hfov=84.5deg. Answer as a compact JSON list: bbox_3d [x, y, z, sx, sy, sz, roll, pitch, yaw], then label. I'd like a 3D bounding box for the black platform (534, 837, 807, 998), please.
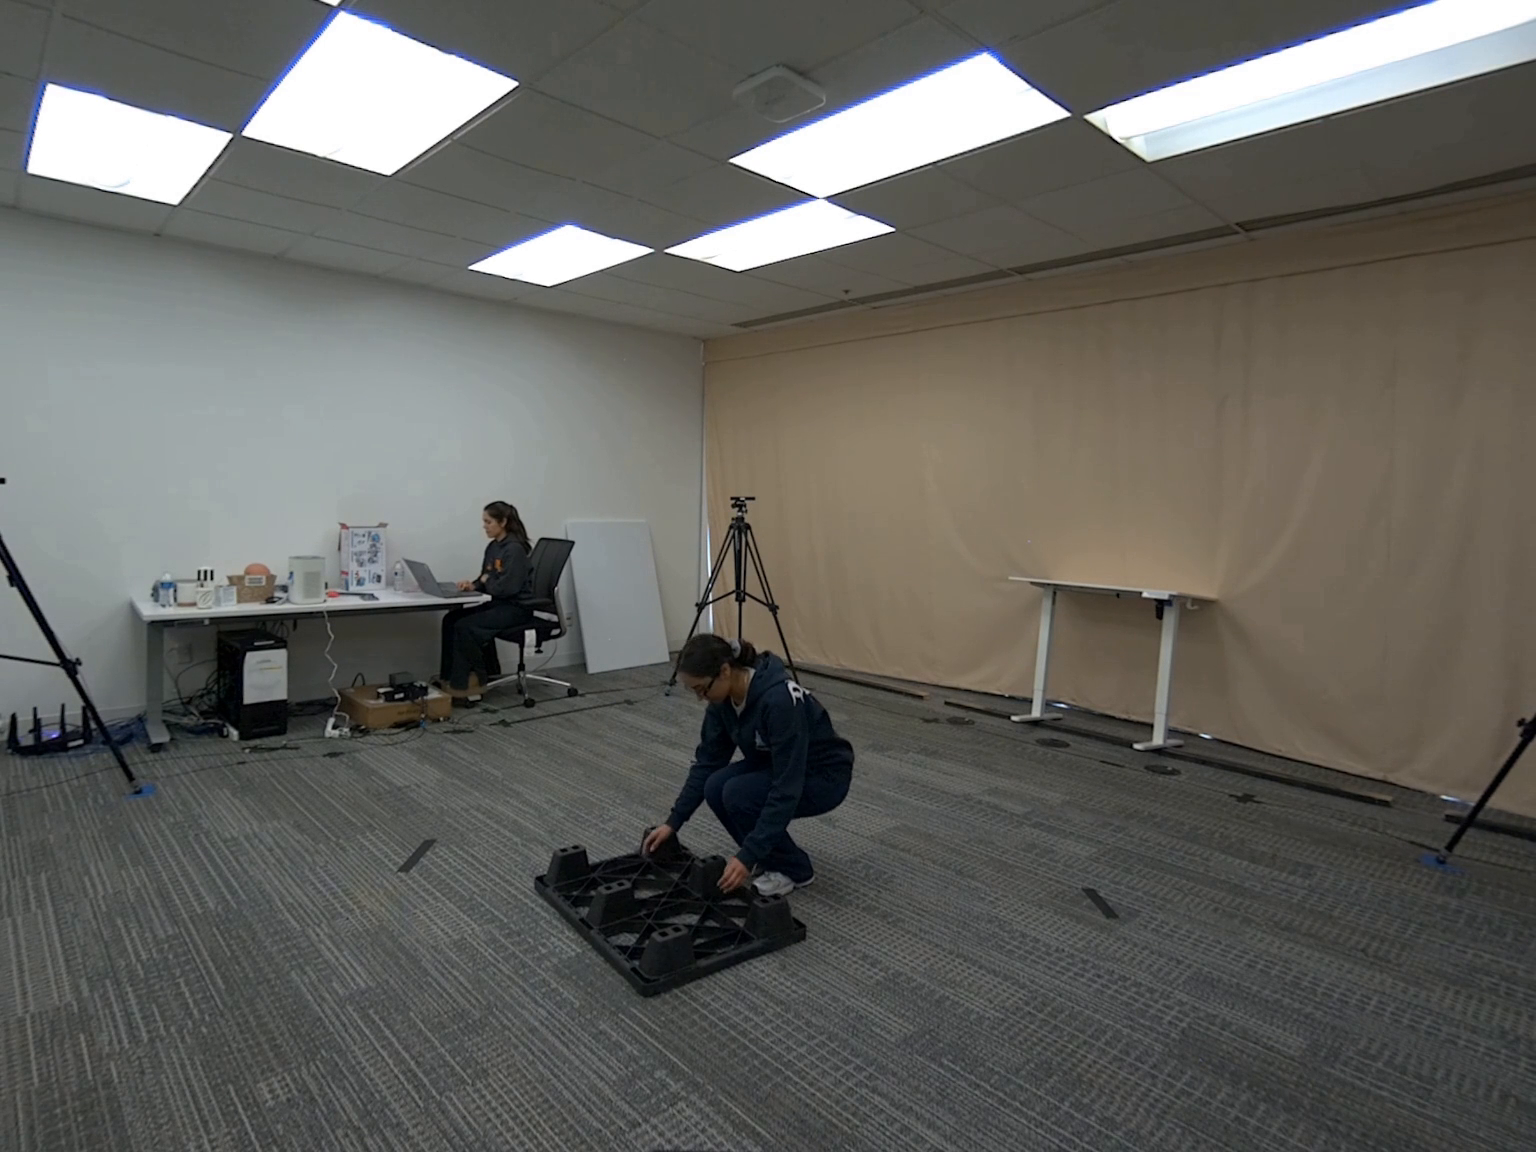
[{"bbox_3d":[-0.344,1.056,2.819,0.592,0.143,0.826,-4,7,-37],"label":"black platform"}]
